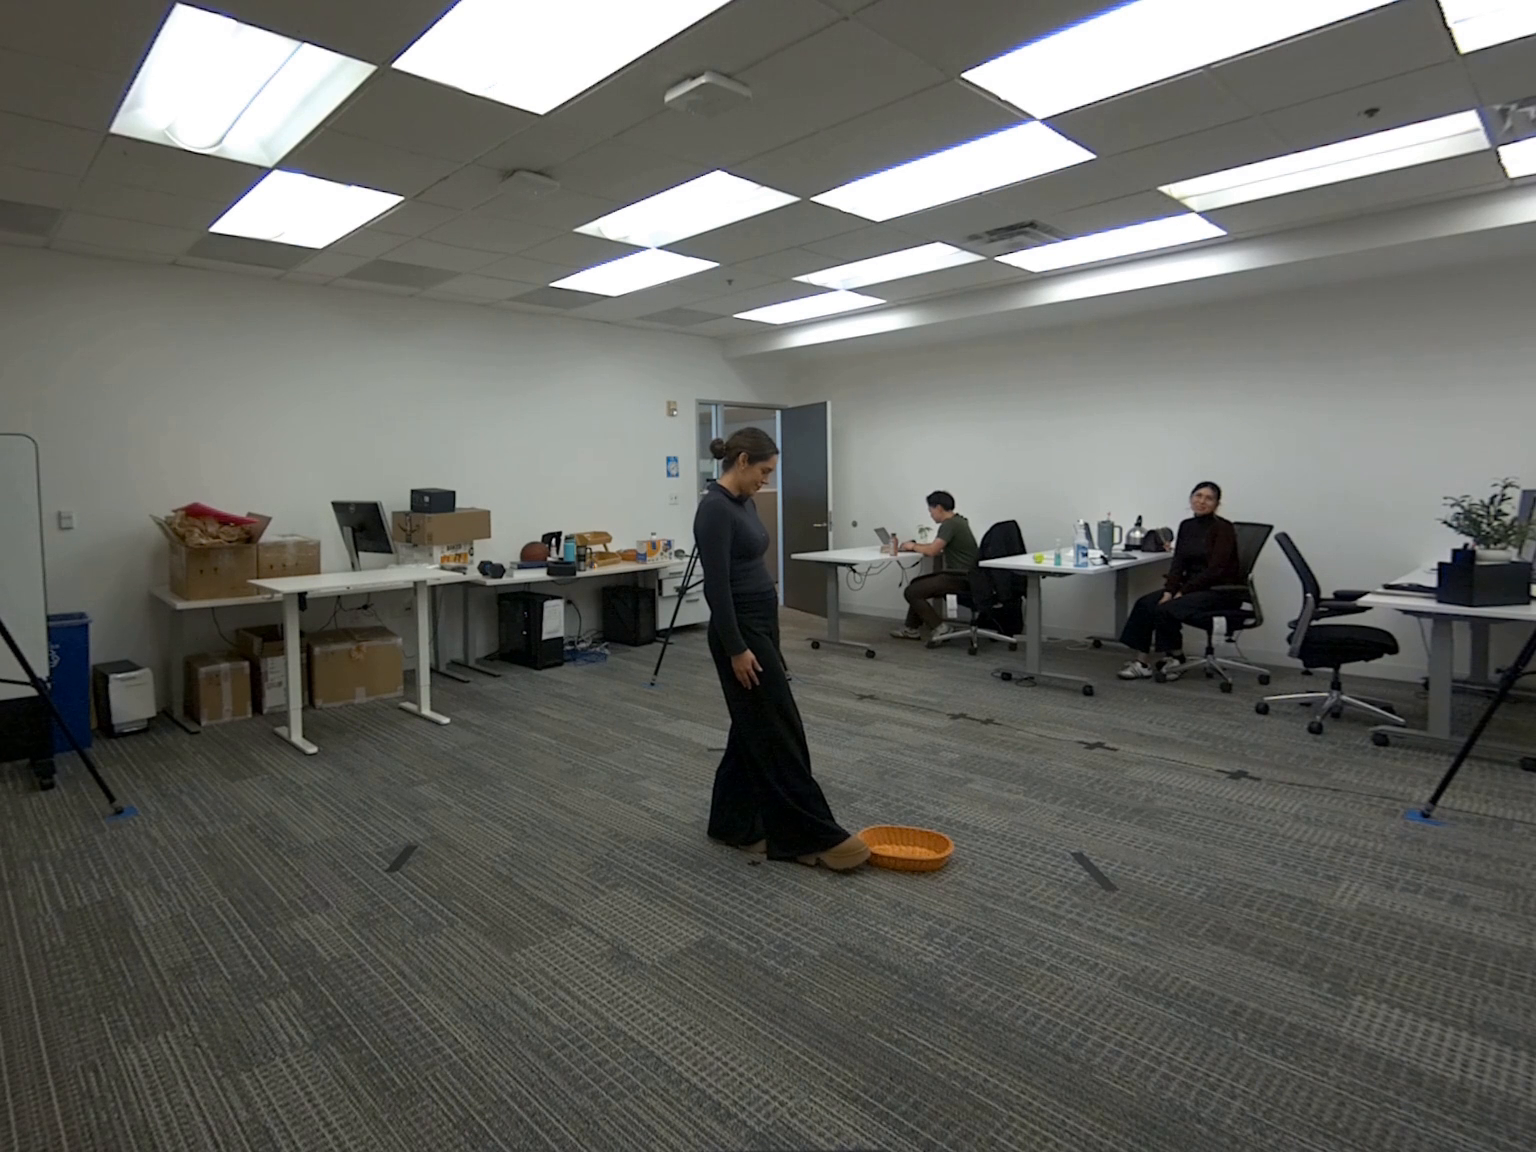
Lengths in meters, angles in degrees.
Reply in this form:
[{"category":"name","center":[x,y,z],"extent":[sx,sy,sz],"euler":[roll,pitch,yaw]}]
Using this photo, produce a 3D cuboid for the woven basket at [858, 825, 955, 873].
[{"category":"woven basket","center":[0.494,0.992,3.099],"extent":[0.357,0.073,0.249],"euler":[1,8,18]}]
